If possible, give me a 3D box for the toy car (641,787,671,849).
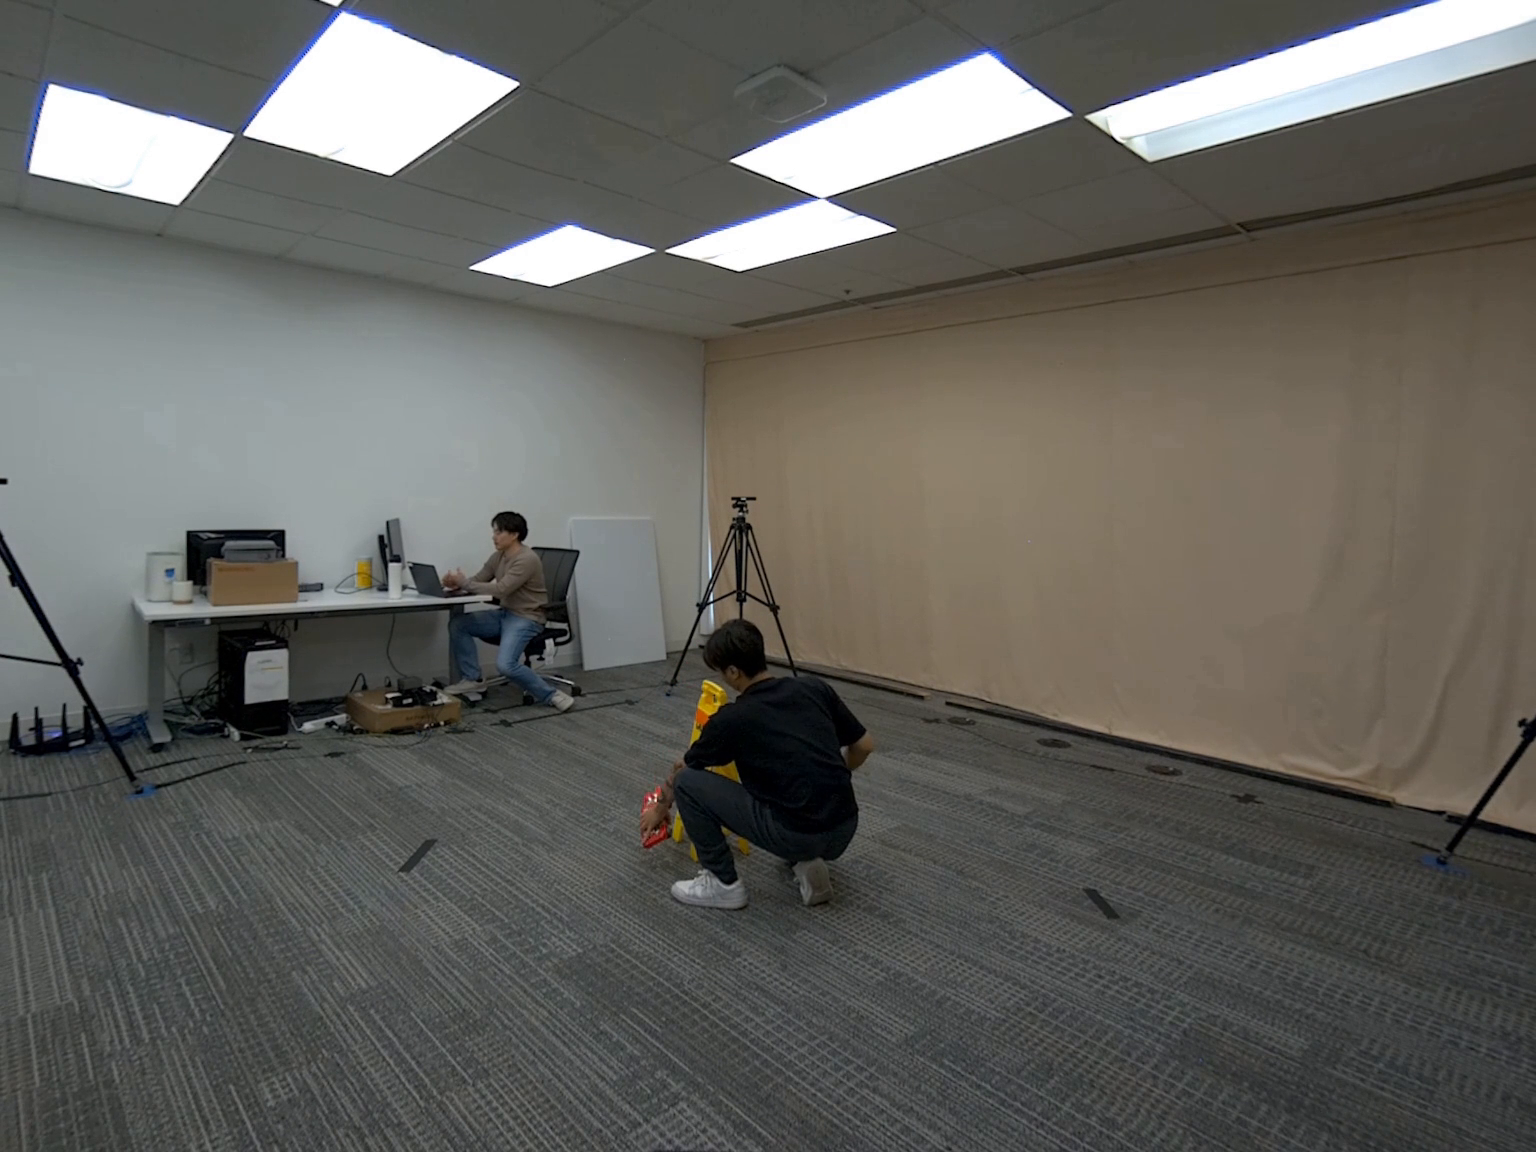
[{"bbox_3d":[-0.433,0.916,3.224,0.131,0.080,0.262,-31,39,12],"label":"toy car"}]
